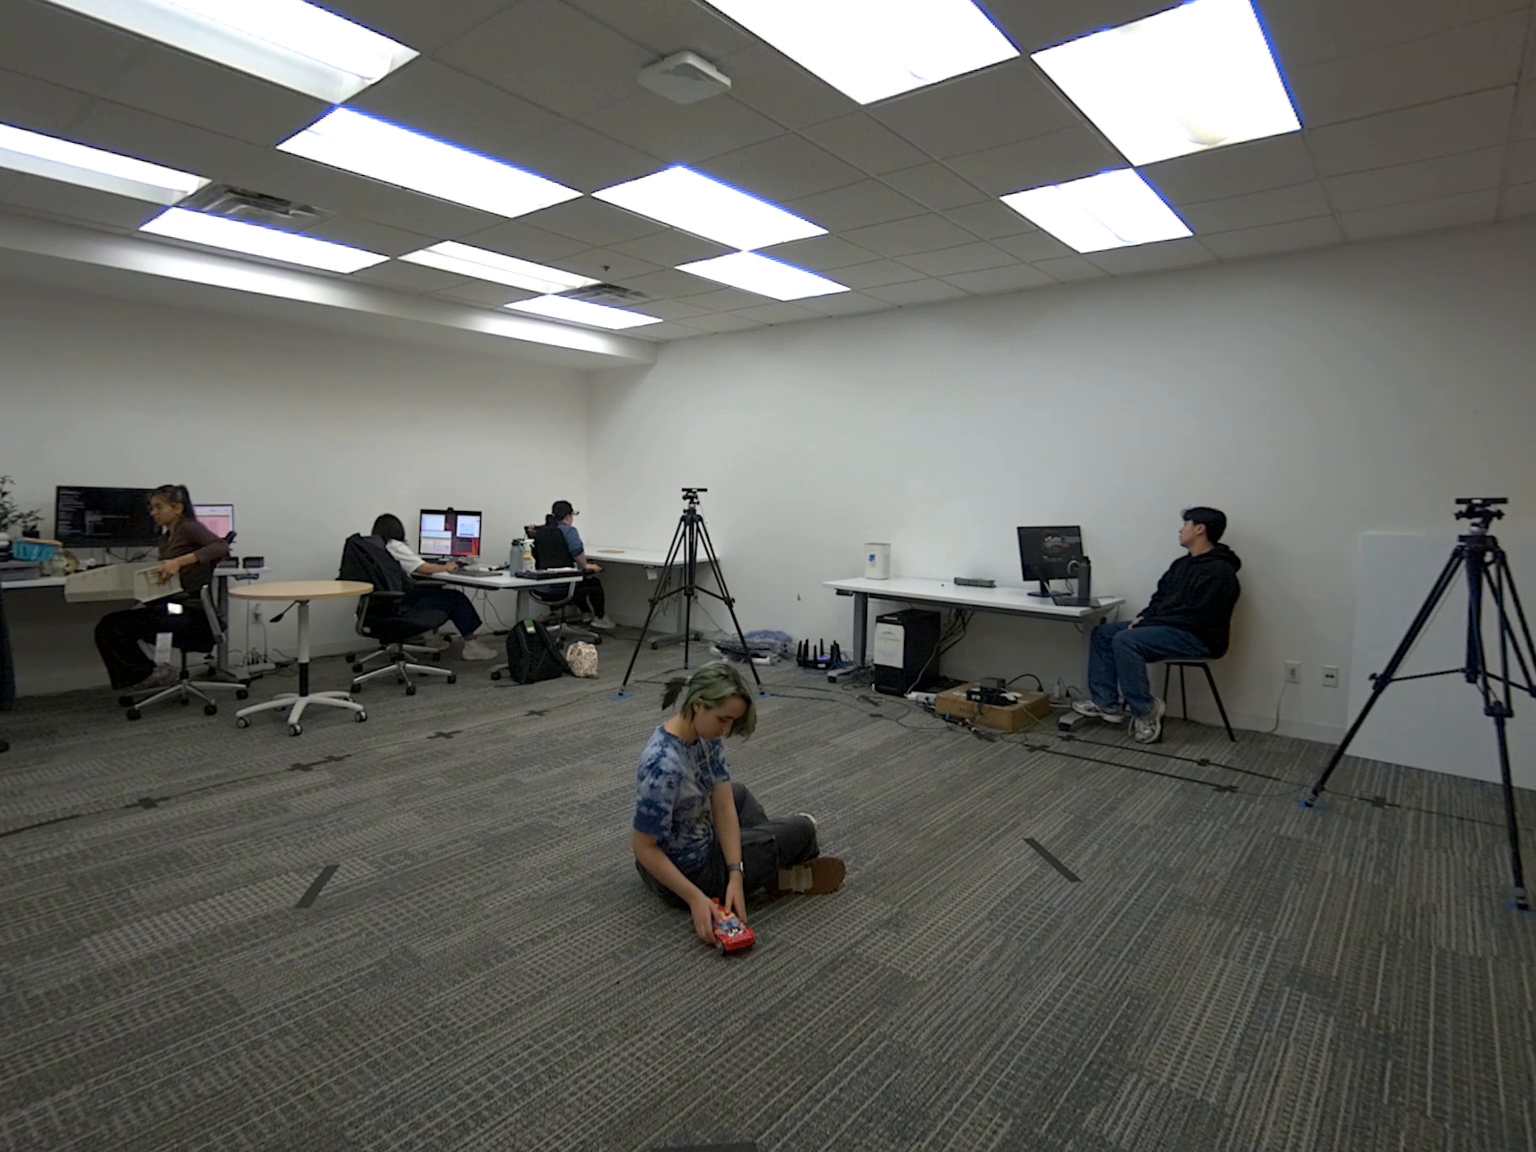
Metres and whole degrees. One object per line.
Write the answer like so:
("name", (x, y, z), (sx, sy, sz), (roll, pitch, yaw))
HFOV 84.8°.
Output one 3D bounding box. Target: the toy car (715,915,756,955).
("toy car", (-0.146, 1.076, 2.631), (0.127, 0.082, 0.263), (-4, 14, -28))
